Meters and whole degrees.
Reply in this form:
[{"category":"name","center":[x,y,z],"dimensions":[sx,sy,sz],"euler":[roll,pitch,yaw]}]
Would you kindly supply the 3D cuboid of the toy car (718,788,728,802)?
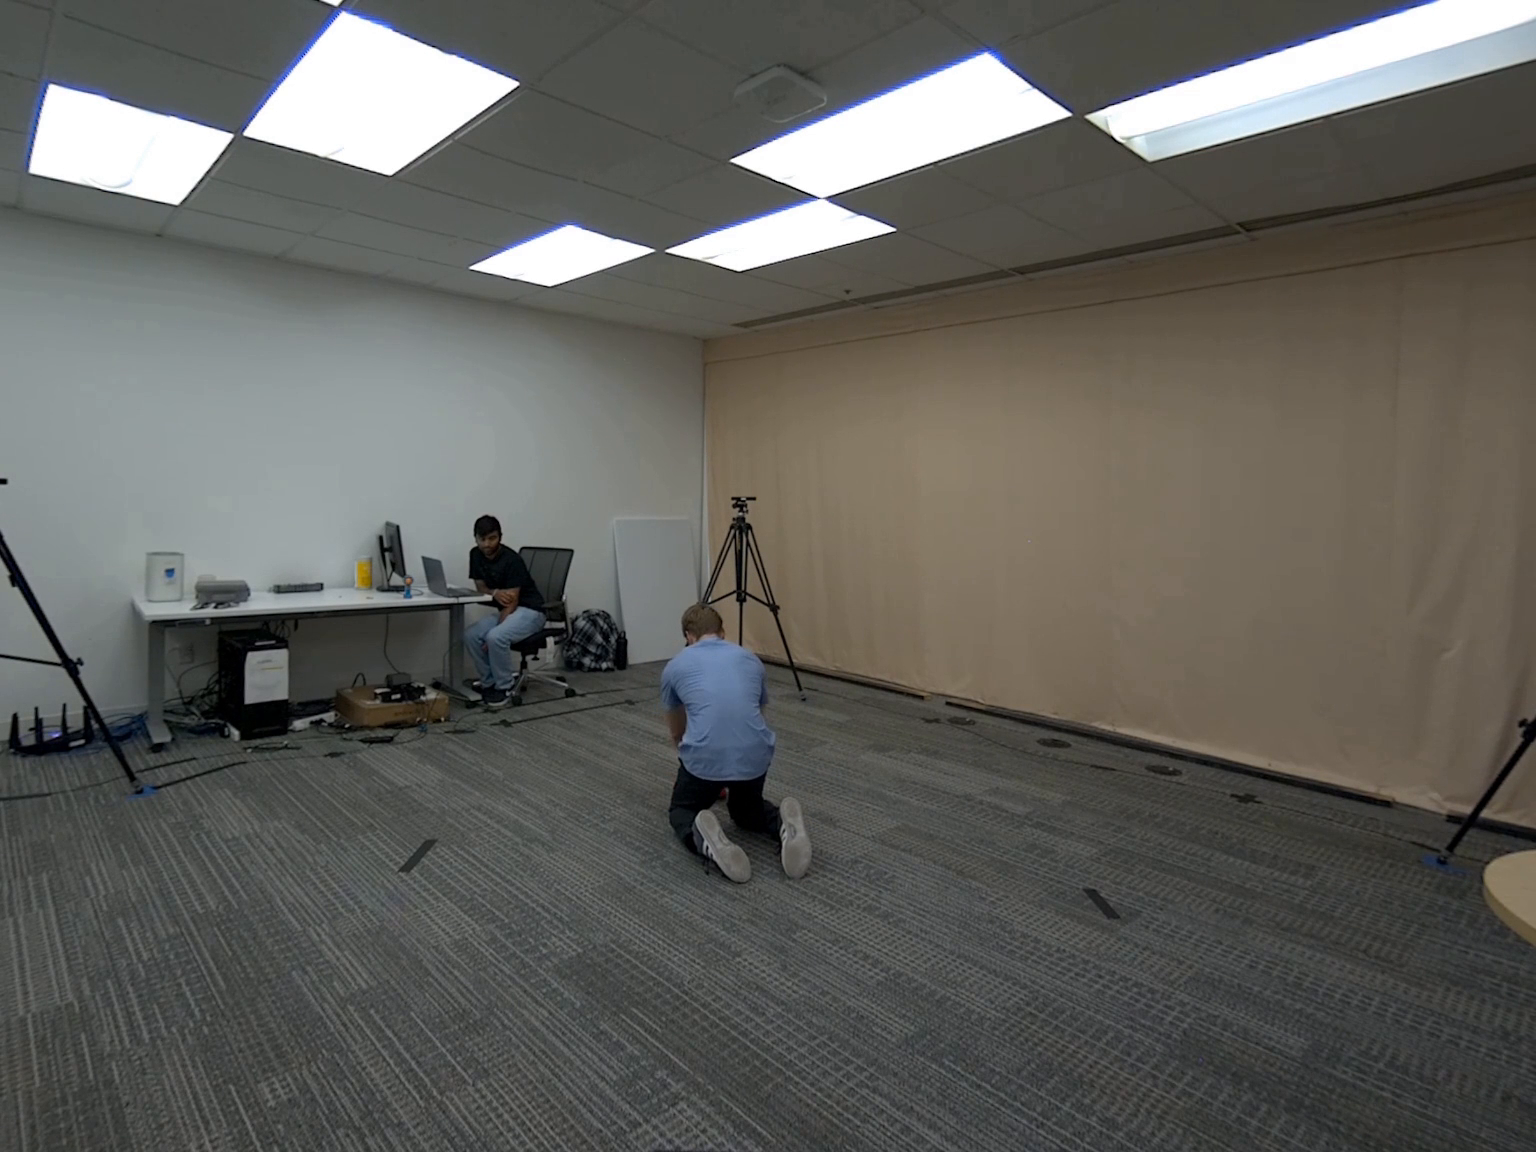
[{"category":"toy car","center":[-0.290,1.001,3.984],"dimensions":[0.128,0.082,0.260],"euler":[1,17,-18]}]
